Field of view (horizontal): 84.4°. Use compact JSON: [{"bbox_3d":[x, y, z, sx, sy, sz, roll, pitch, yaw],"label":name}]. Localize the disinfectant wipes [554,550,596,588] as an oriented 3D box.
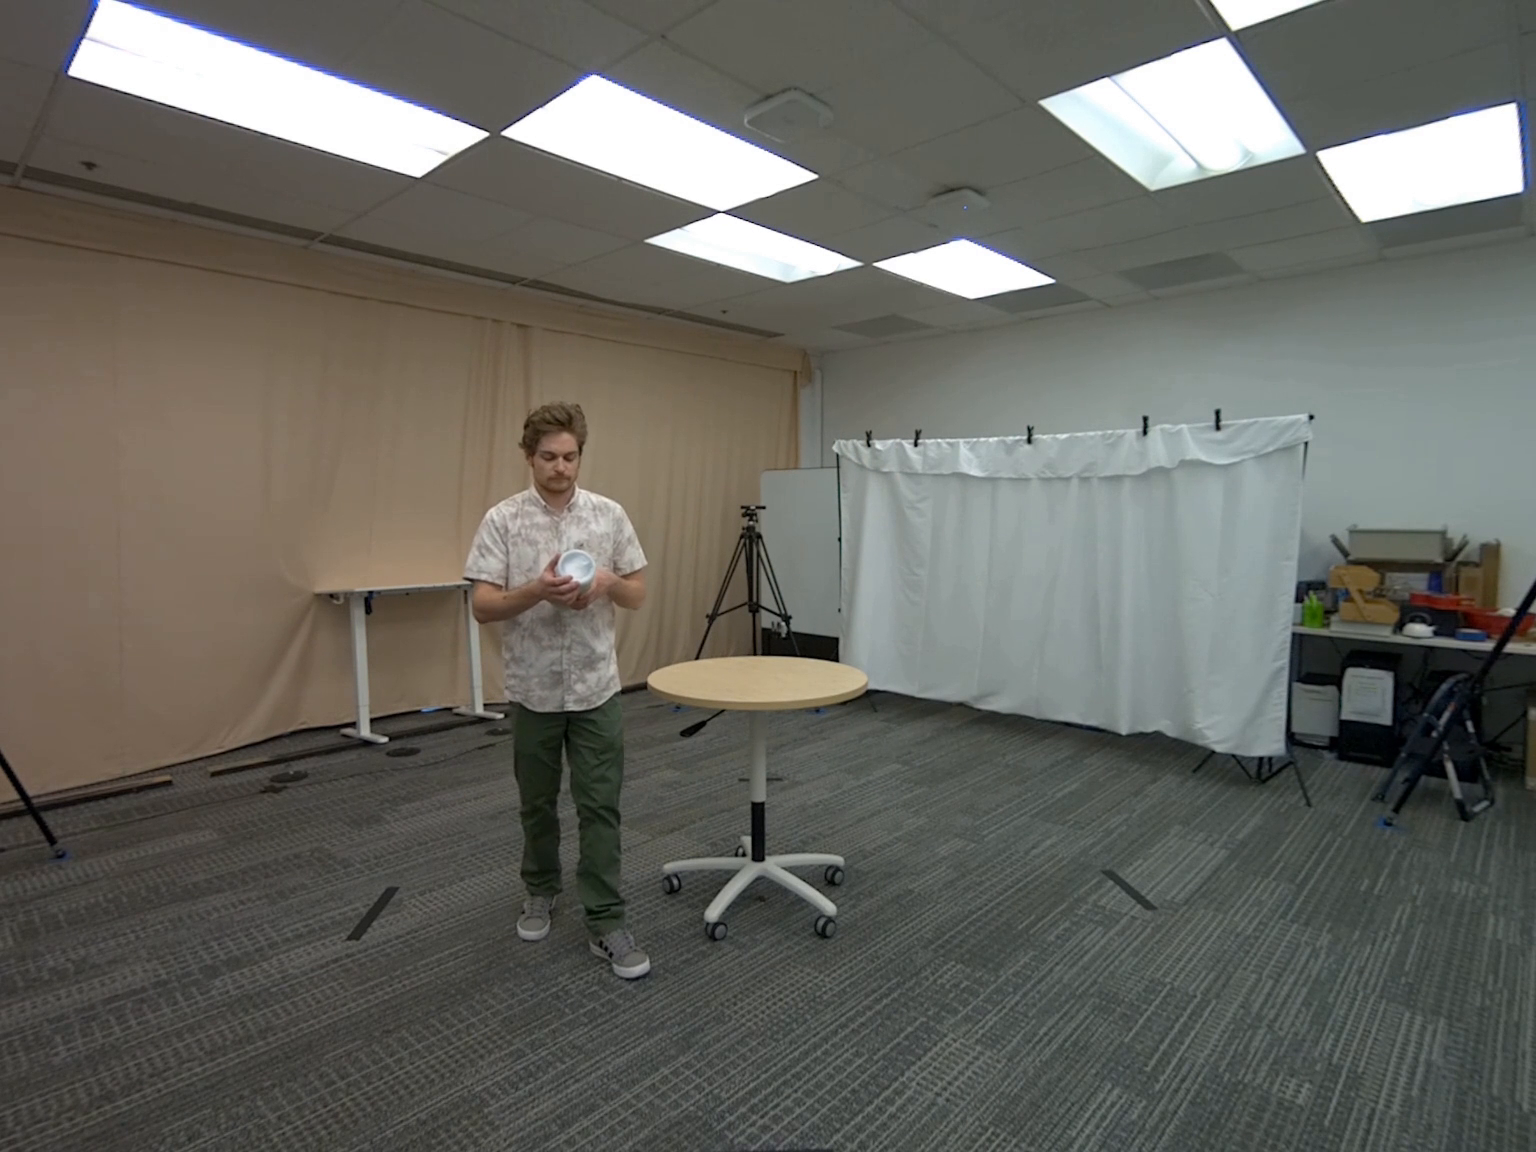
[{"bbox_3d":[-0.572,0.010,2.413,0.115,0.119,0.218,-1,-21,-19],"label":"disinfectant wipes"}]
